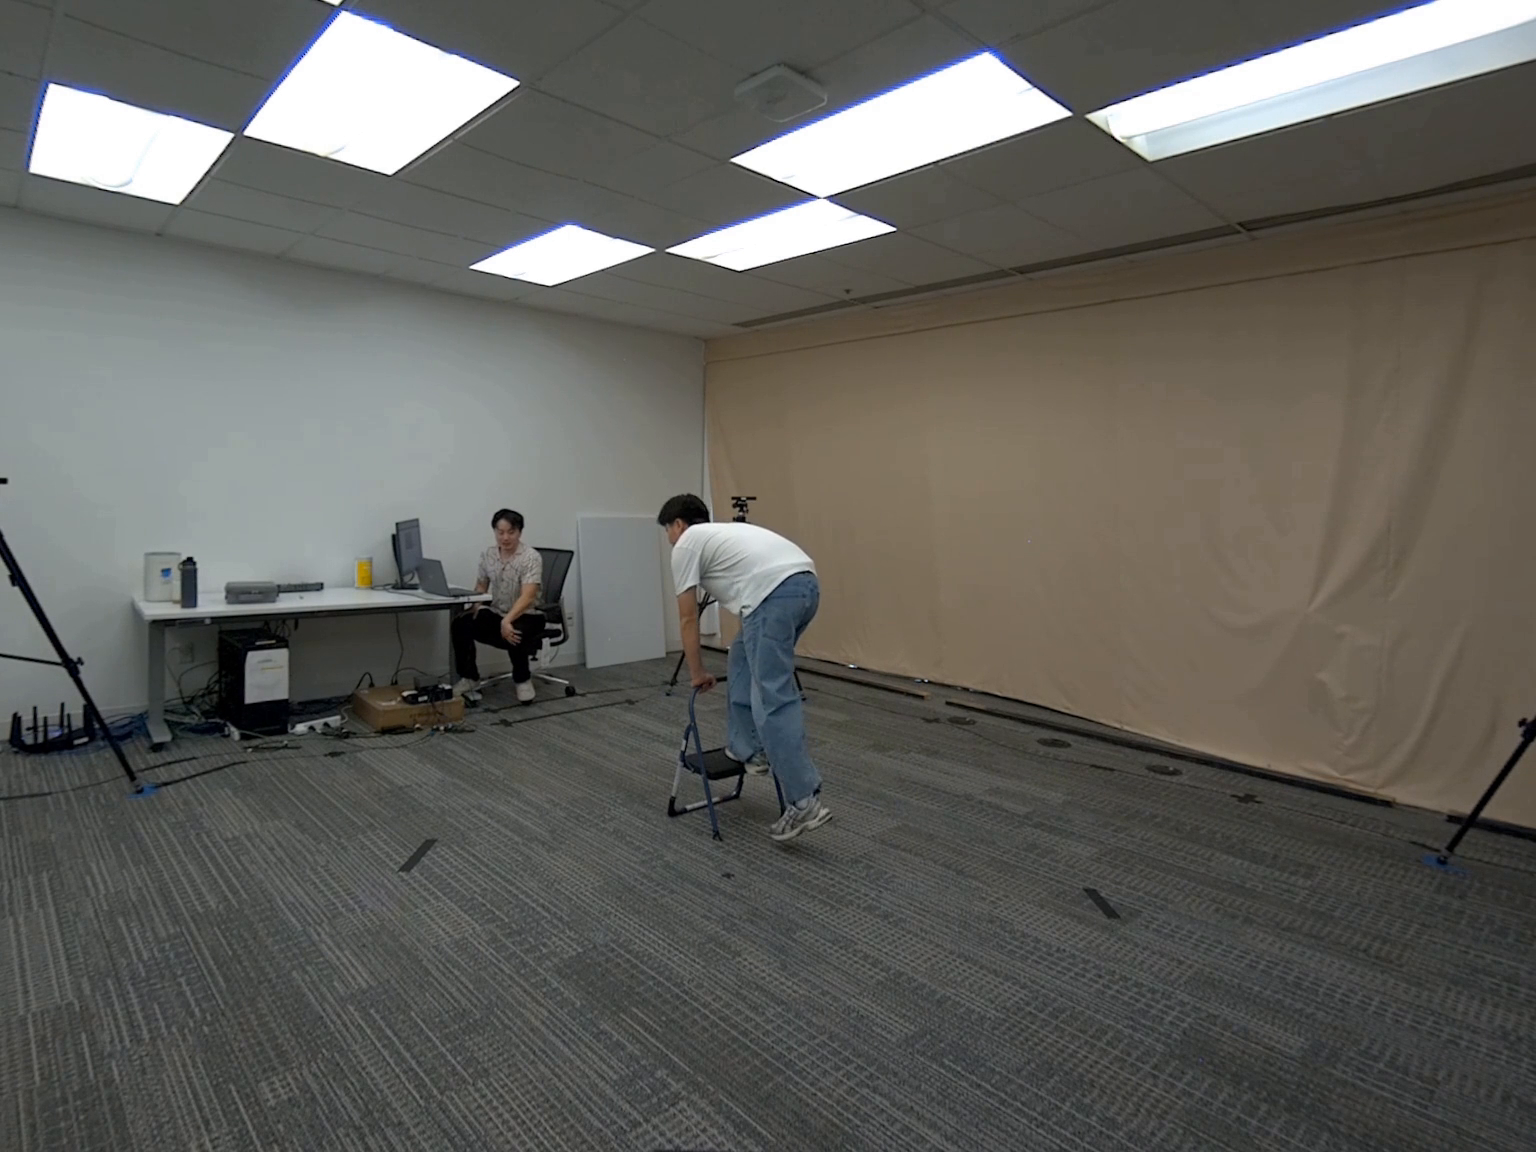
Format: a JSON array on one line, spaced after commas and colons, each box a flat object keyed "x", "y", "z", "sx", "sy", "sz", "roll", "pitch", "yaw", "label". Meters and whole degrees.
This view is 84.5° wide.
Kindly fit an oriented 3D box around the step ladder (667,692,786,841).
[{"x": -0.176, "y": 0.752, "z": 3.674, "sx": 0.420, "sy": 0.605, "sz": 0.358, "roll": -2, "pitch": 5, "yaw": -44, "label": "step ladder"}]
